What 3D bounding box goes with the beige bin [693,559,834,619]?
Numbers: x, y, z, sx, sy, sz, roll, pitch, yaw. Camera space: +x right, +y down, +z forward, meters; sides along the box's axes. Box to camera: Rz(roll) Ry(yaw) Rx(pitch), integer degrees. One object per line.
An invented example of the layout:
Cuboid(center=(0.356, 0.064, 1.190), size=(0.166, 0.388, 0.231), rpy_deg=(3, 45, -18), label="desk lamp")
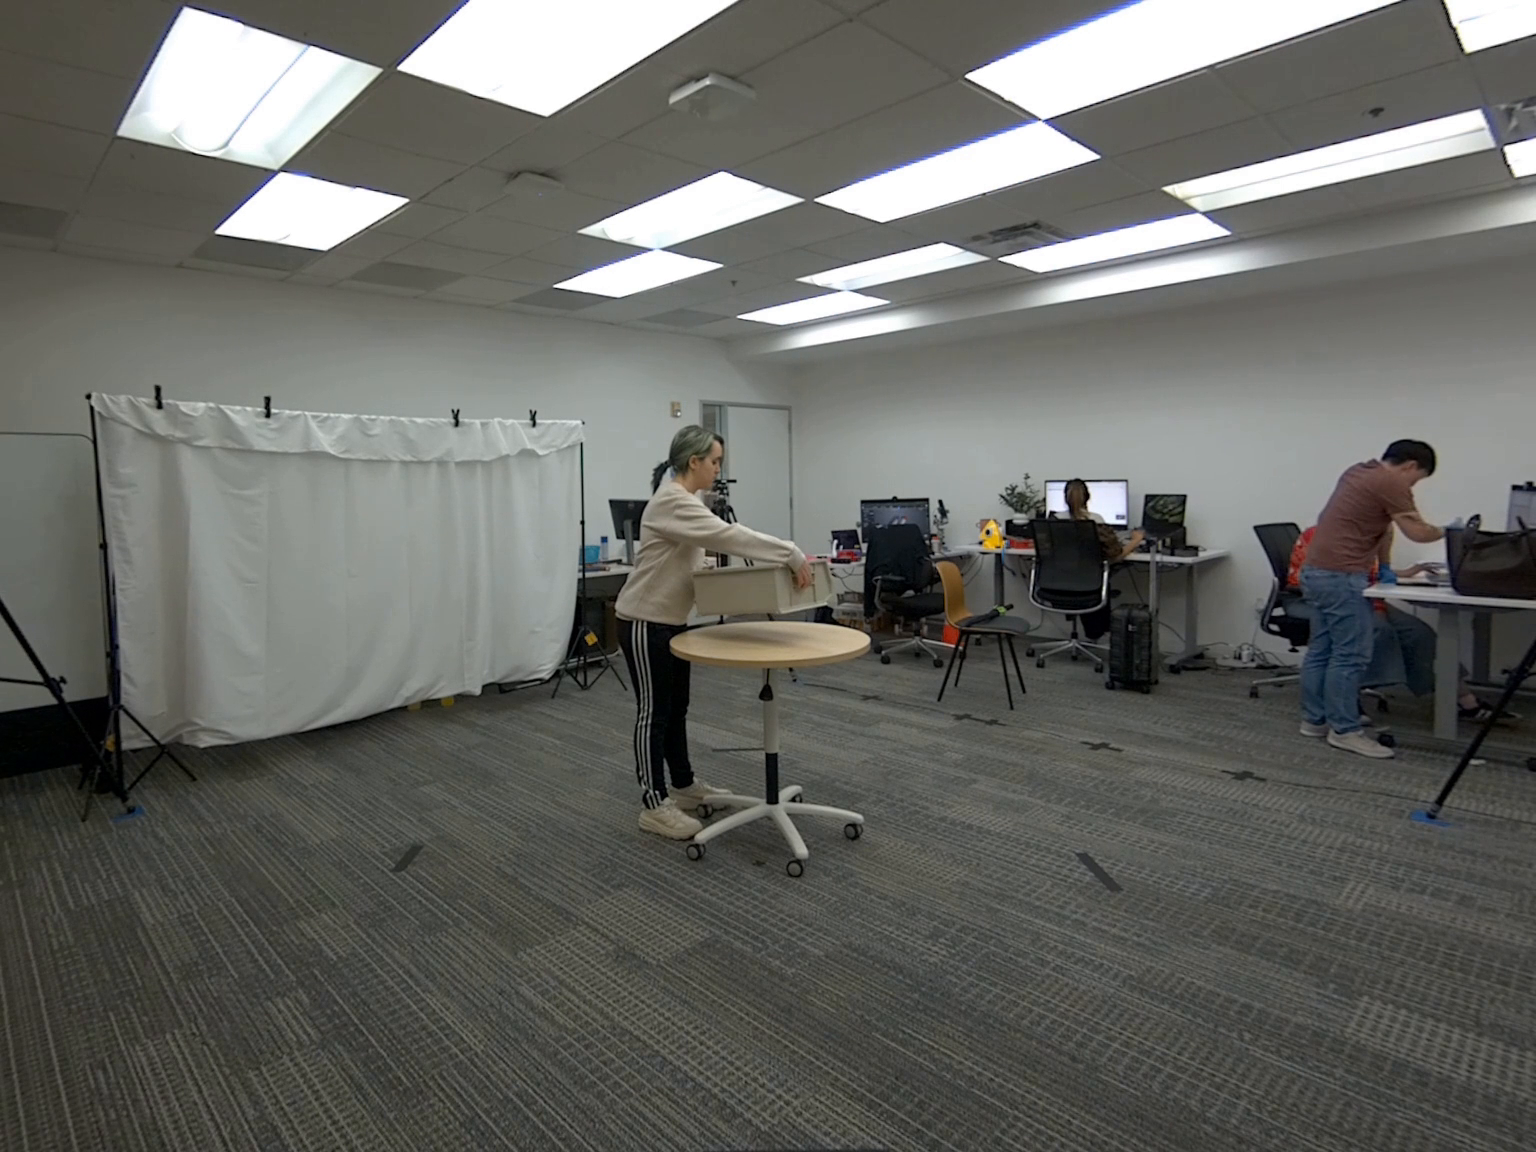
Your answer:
Cuboid(center=(-0.018, 0.046, 3.312), size=(0.433, 0.188, 0.368), rpy_deg=(-3, 4, 38), label="beige bin")
